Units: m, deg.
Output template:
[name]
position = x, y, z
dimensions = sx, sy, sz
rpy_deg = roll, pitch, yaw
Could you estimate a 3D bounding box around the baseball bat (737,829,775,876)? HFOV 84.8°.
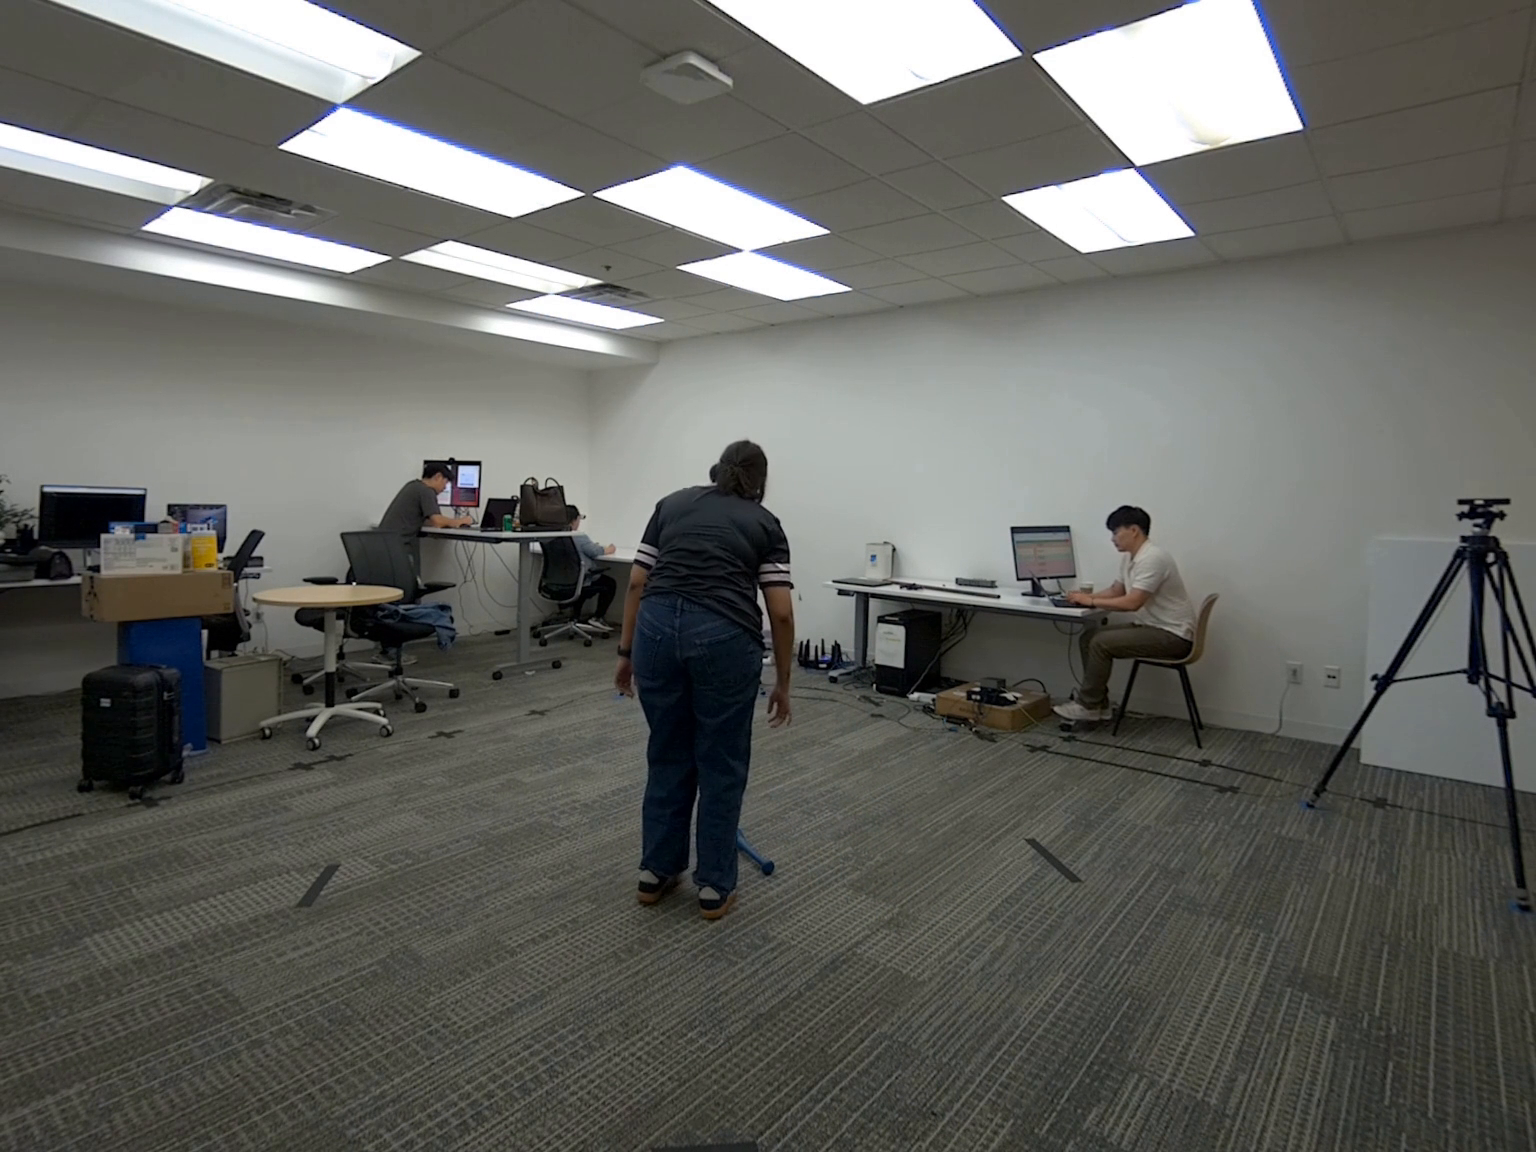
[baseball bat]
position = -0.141, 1.009, 3.310
dimensions = 0.087, 0.088, 0.561
rpy_deg = -1, 10, -29
